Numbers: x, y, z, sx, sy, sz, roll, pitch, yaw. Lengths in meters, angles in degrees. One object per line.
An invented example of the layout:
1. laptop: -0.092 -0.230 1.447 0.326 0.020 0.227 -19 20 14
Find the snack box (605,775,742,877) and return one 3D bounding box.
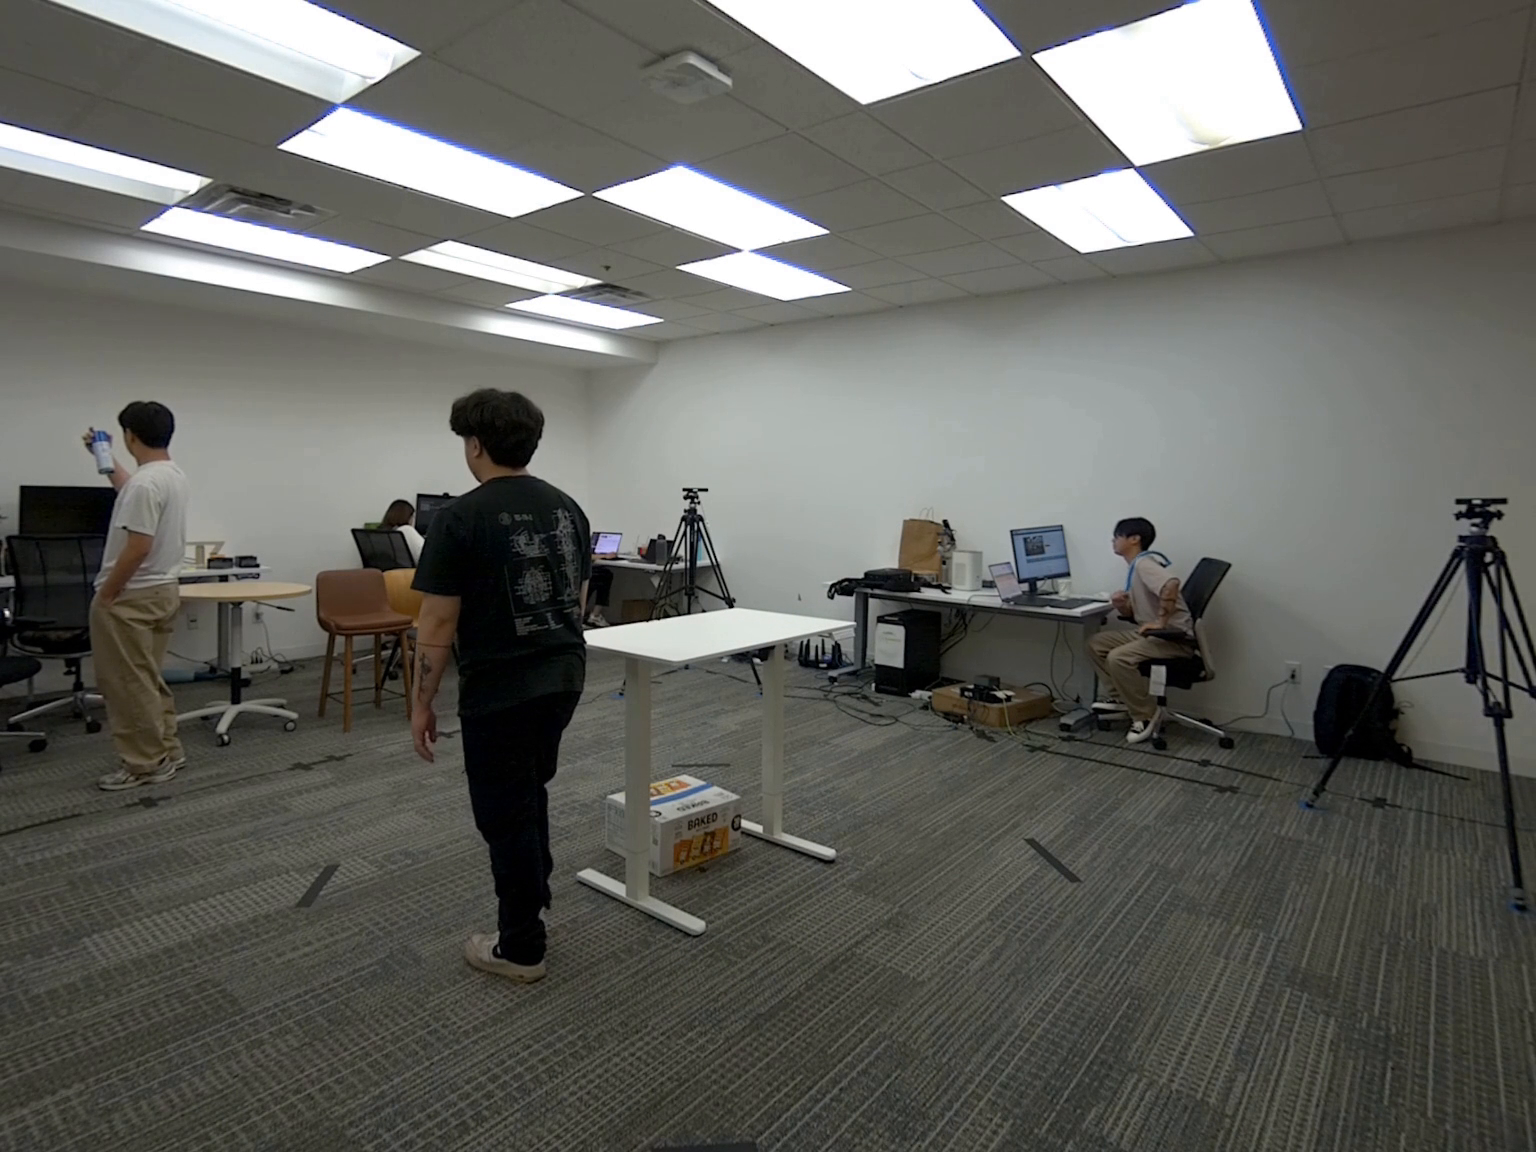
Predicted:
1. snack box: -0.372 0.951 3.279 0.393 0.205 0.352 -4 7 -45
